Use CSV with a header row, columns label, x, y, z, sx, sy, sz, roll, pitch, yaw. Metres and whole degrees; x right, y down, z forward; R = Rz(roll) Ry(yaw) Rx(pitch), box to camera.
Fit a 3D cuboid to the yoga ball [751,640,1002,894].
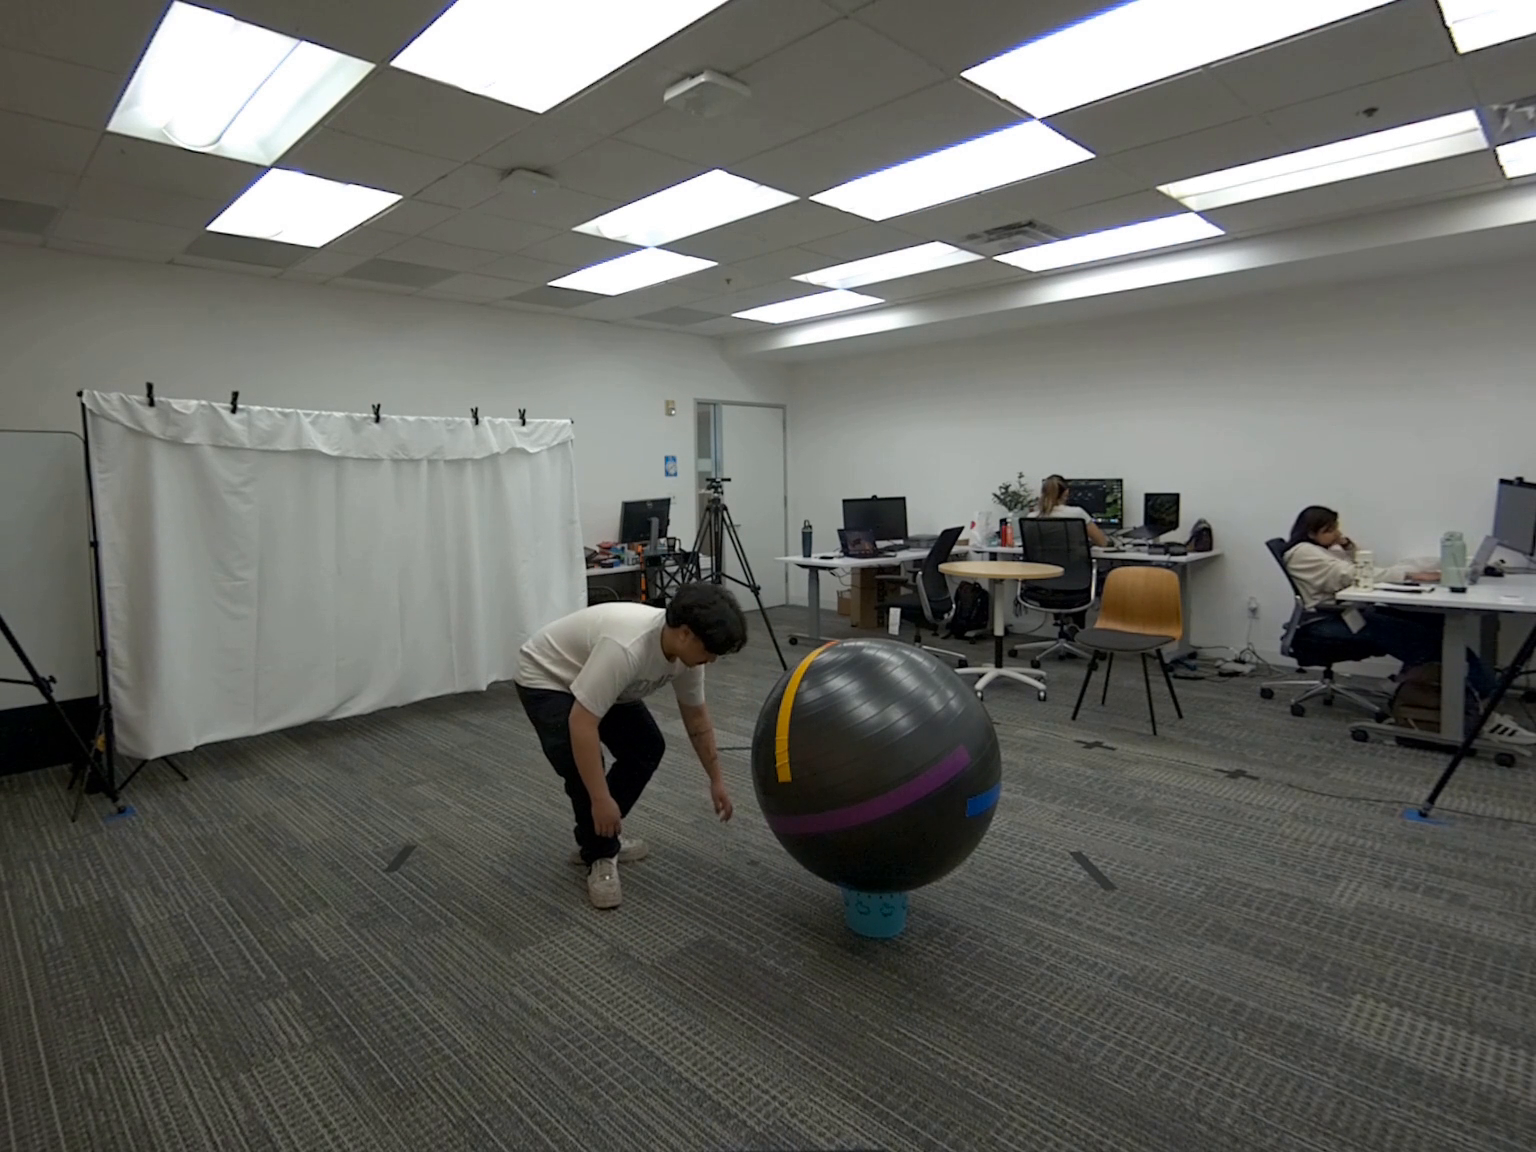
label,x,y,z,sx,sy,sz,roll,pitch,yaw
yoga ball,0.327,0.573,2.641,0.757,0.755,0.762,-1,5,-2
